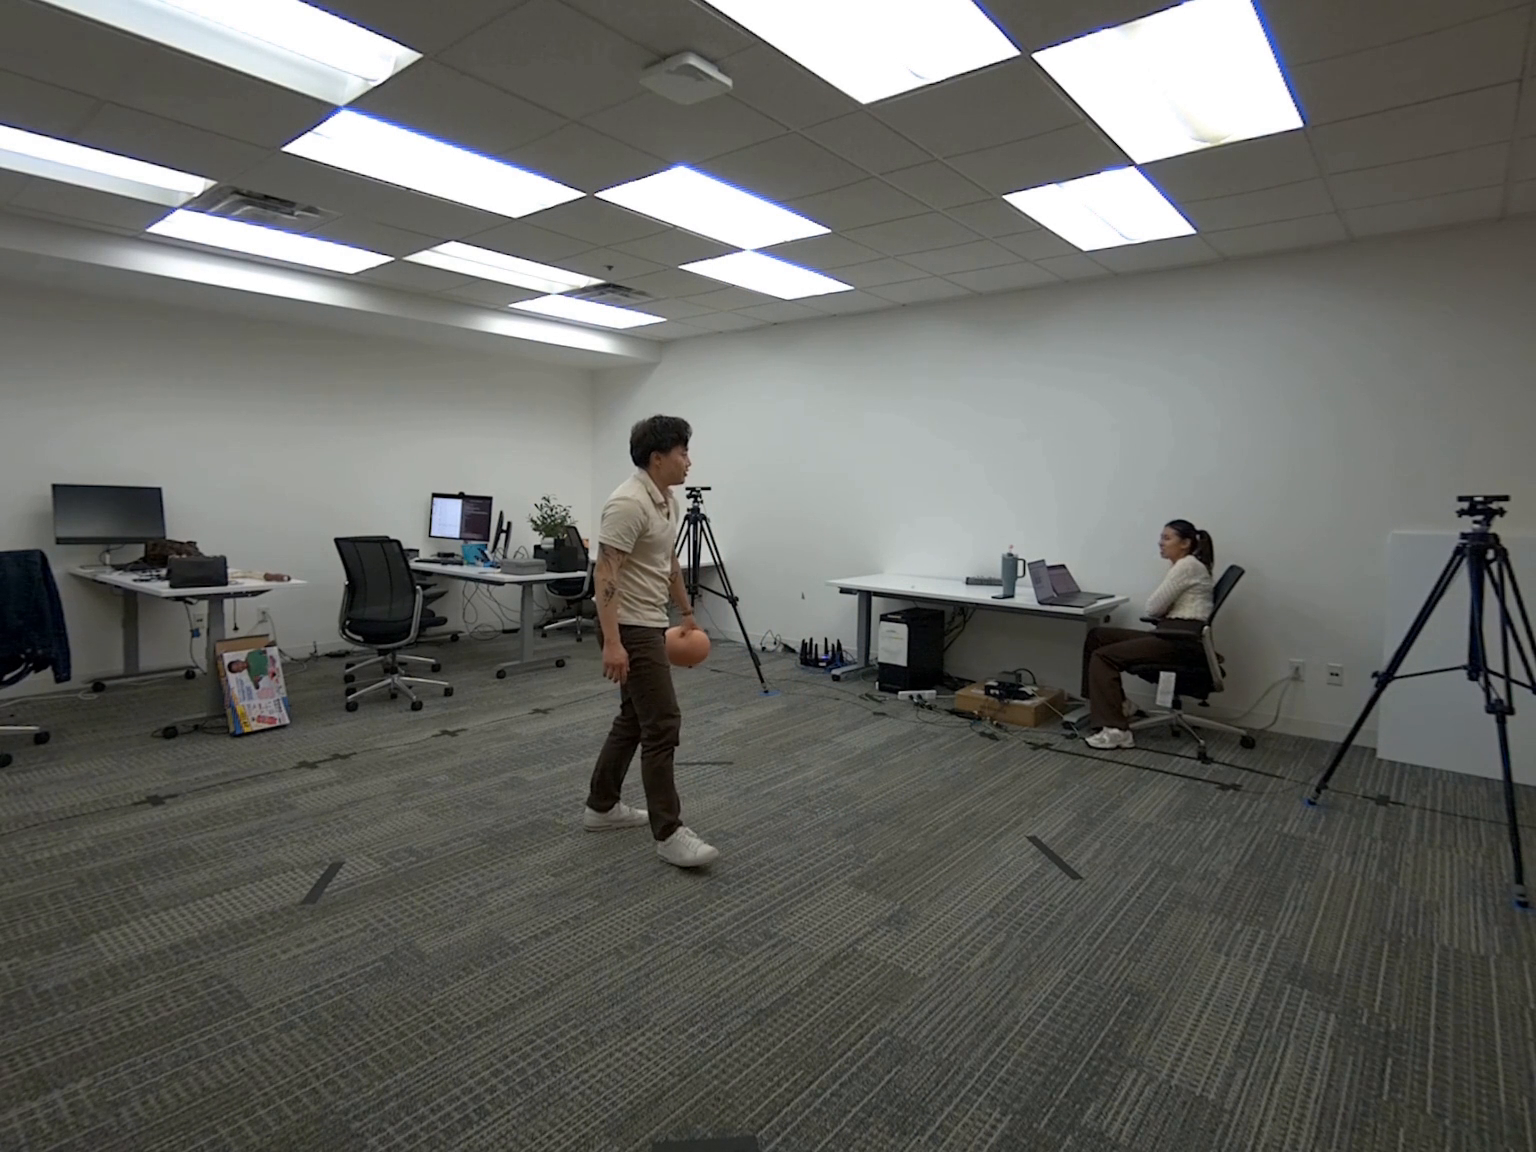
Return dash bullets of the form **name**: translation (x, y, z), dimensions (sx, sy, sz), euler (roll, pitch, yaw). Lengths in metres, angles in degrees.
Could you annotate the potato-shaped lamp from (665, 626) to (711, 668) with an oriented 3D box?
- **potato-shaped lamp**: translation (-0.359, 0.293, 3.631), dimensions (0.202, 0.174, 0.159), euler (-11, -19, 22)
